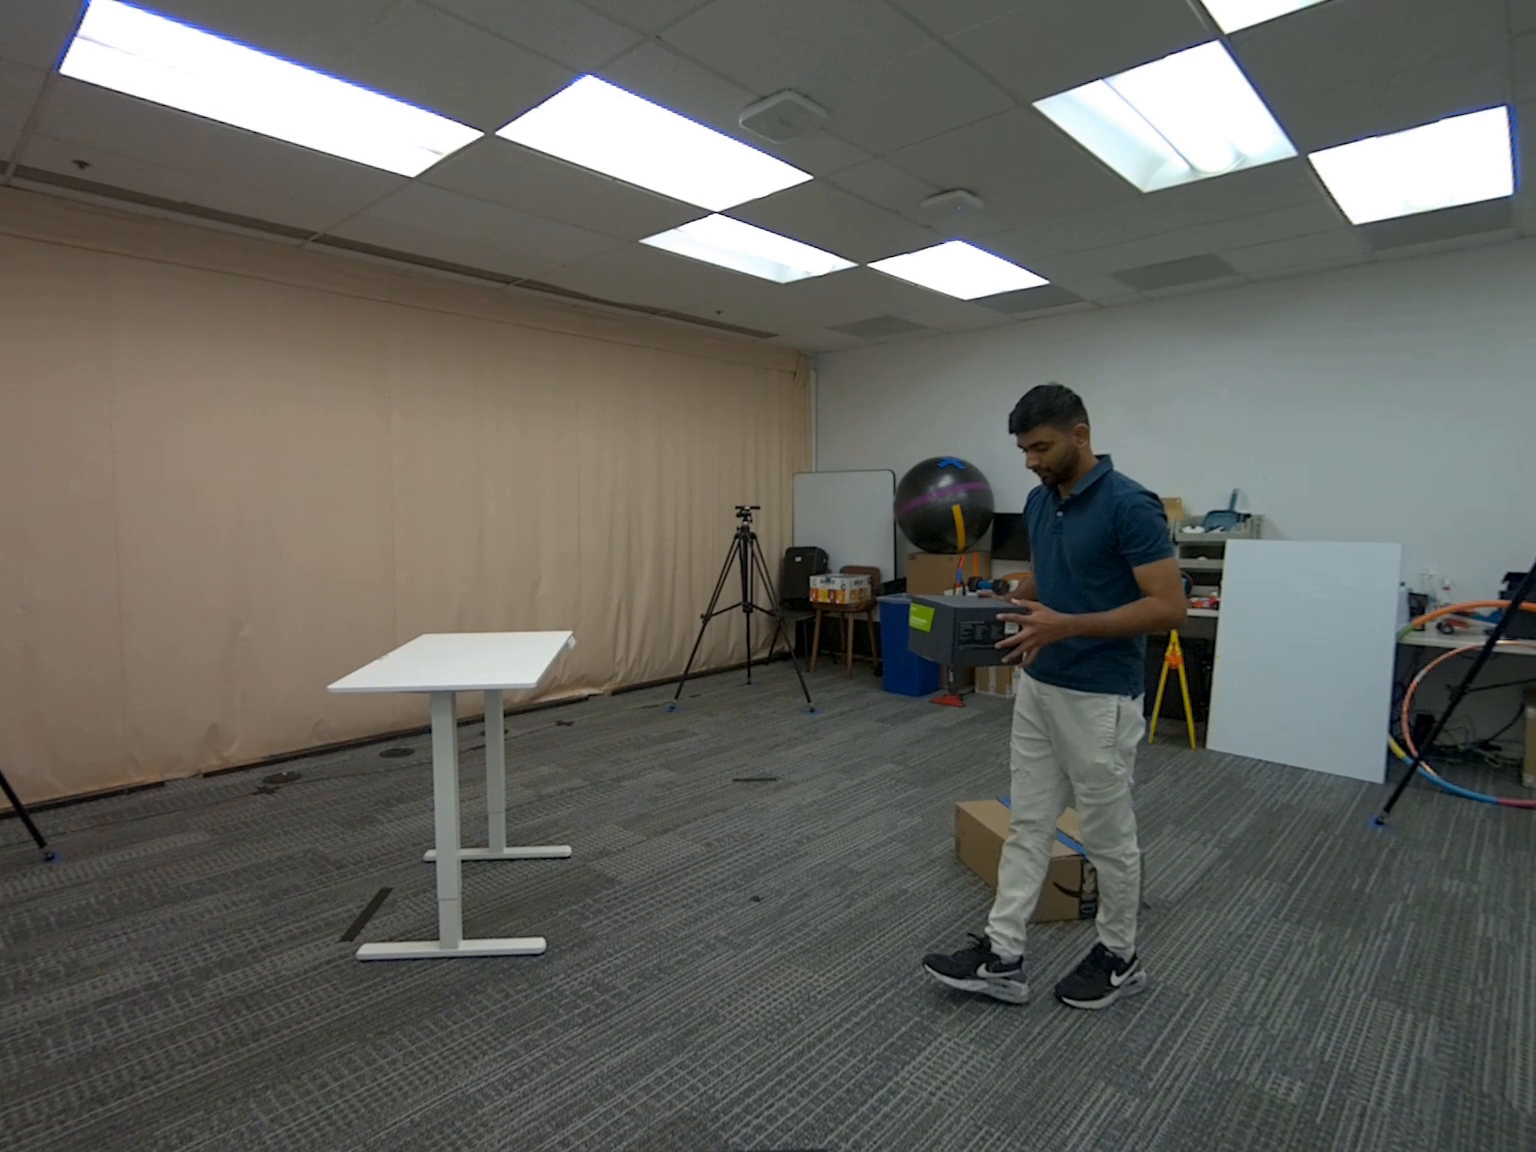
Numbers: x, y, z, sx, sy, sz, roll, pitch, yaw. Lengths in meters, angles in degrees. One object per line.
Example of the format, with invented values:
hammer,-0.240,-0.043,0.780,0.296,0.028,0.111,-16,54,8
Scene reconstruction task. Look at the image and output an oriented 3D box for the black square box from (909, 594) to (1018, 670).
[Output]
black square box,0.529,0.146,2.261,0.215,0.155,0.231,2,4,-11
